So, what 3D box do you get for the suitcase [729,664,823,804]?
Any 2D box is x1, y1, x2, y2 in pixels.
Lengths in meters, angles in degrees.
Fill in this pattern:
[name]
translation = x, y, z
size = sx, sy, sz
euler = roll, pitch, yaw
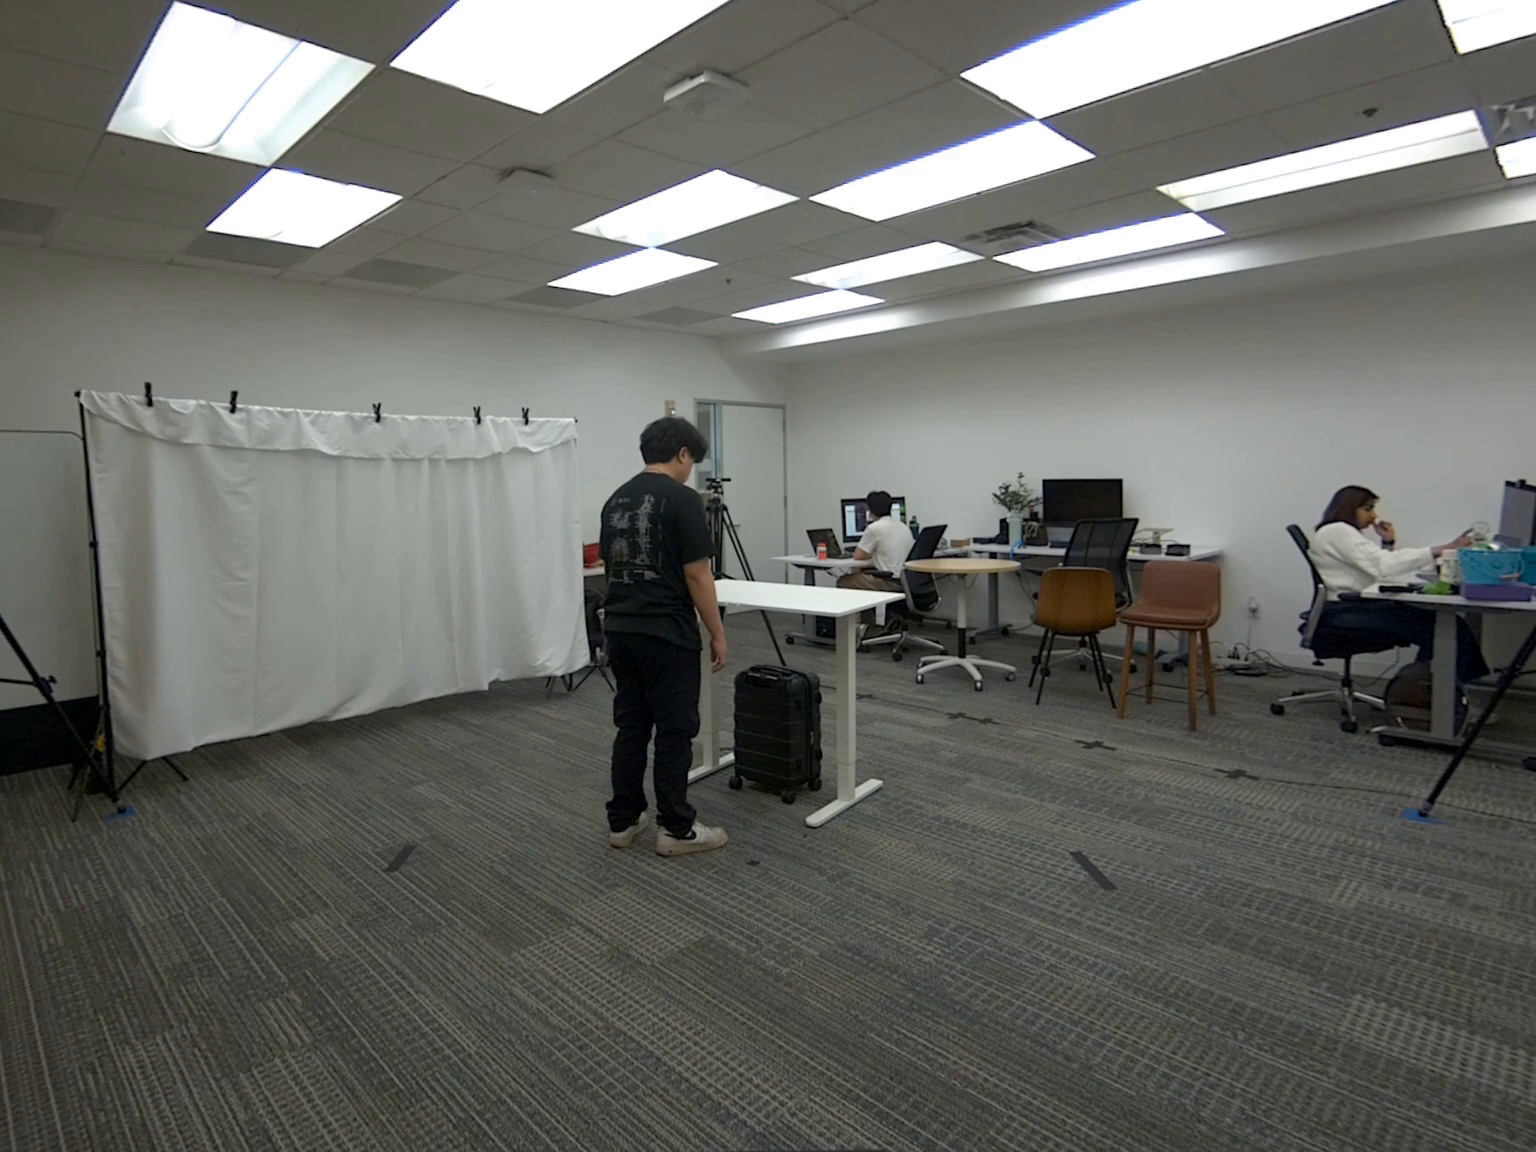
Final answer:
[suitcase]
translation = 0.039, 0.683, 3.854
size = 0.386, 0.548, 0.241
euler = 2, 3, 39
